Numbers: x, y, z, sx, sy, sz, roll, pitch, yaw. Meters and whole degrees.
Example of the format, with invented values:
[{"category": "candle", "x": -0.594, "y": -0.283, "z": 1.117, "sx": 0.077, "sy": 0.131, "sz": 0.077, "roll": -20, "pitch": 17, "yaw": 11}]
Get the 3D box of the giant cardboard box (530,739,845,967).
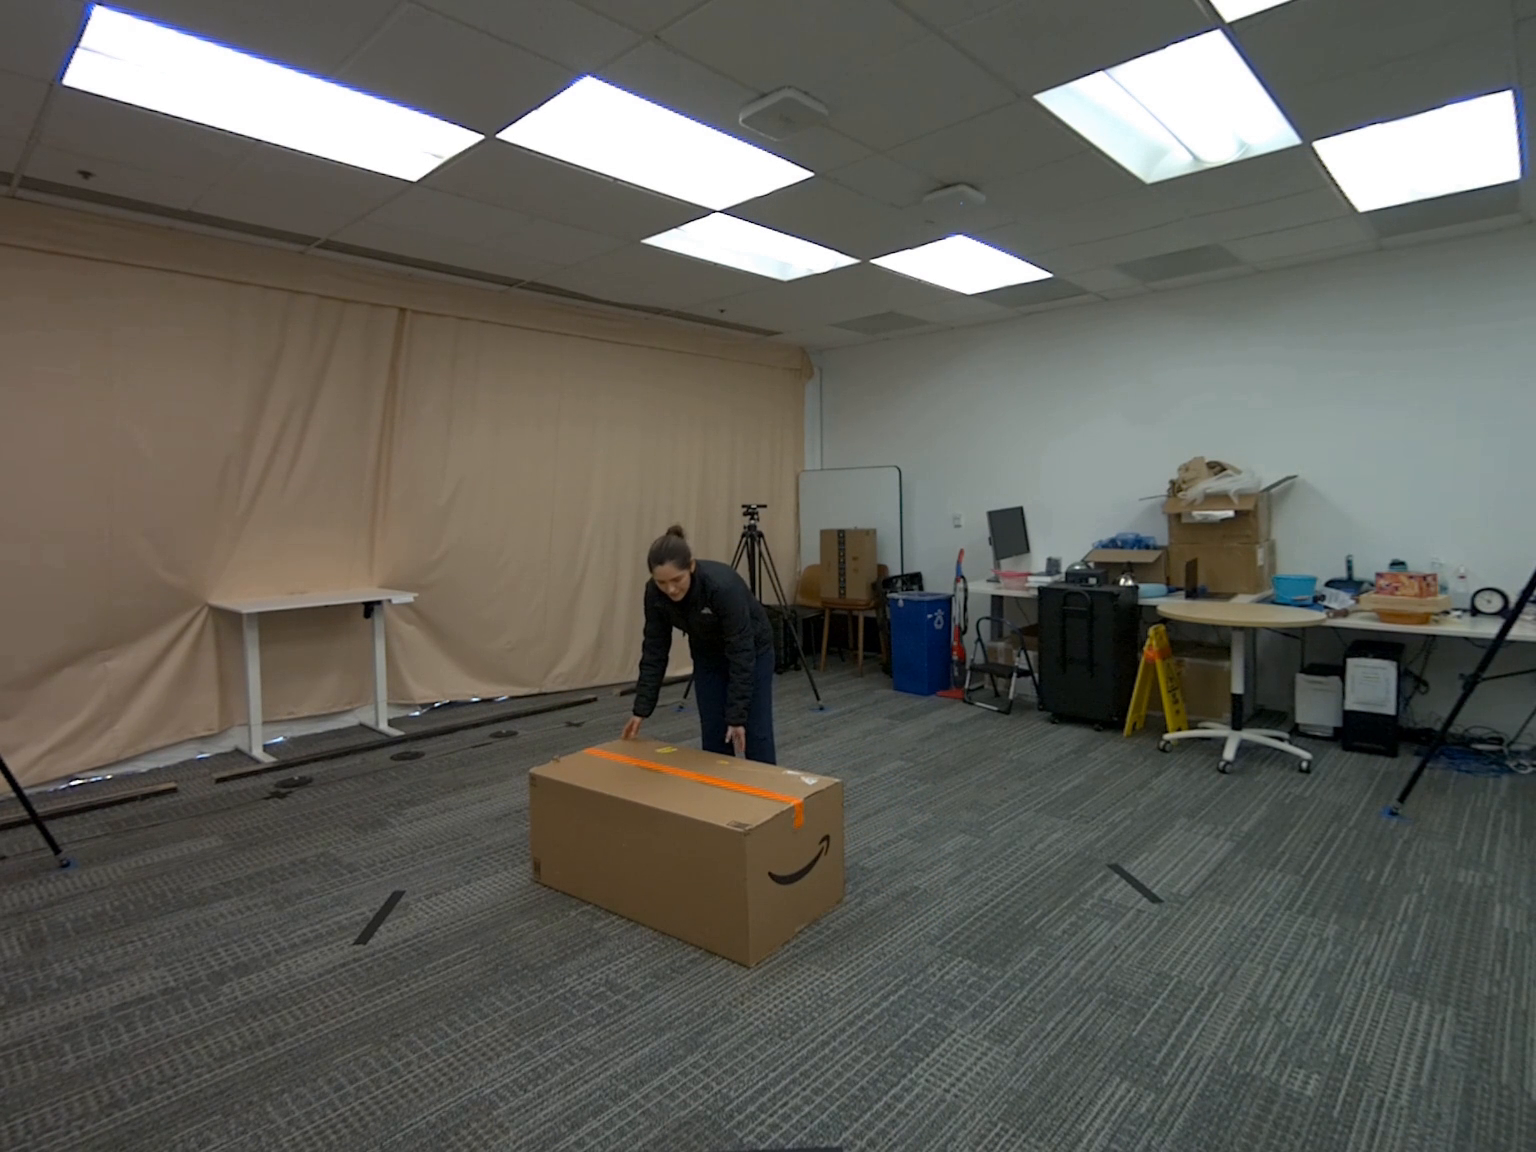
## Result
[{"category": "giant cardboard box", "x": -0.298, "y": 0.927, "z": 3.051, "sx": 1.058, "sy": 0.425, "sz": 0.561, "roll": 2, "pitch": 5, "yaw": 37}]
